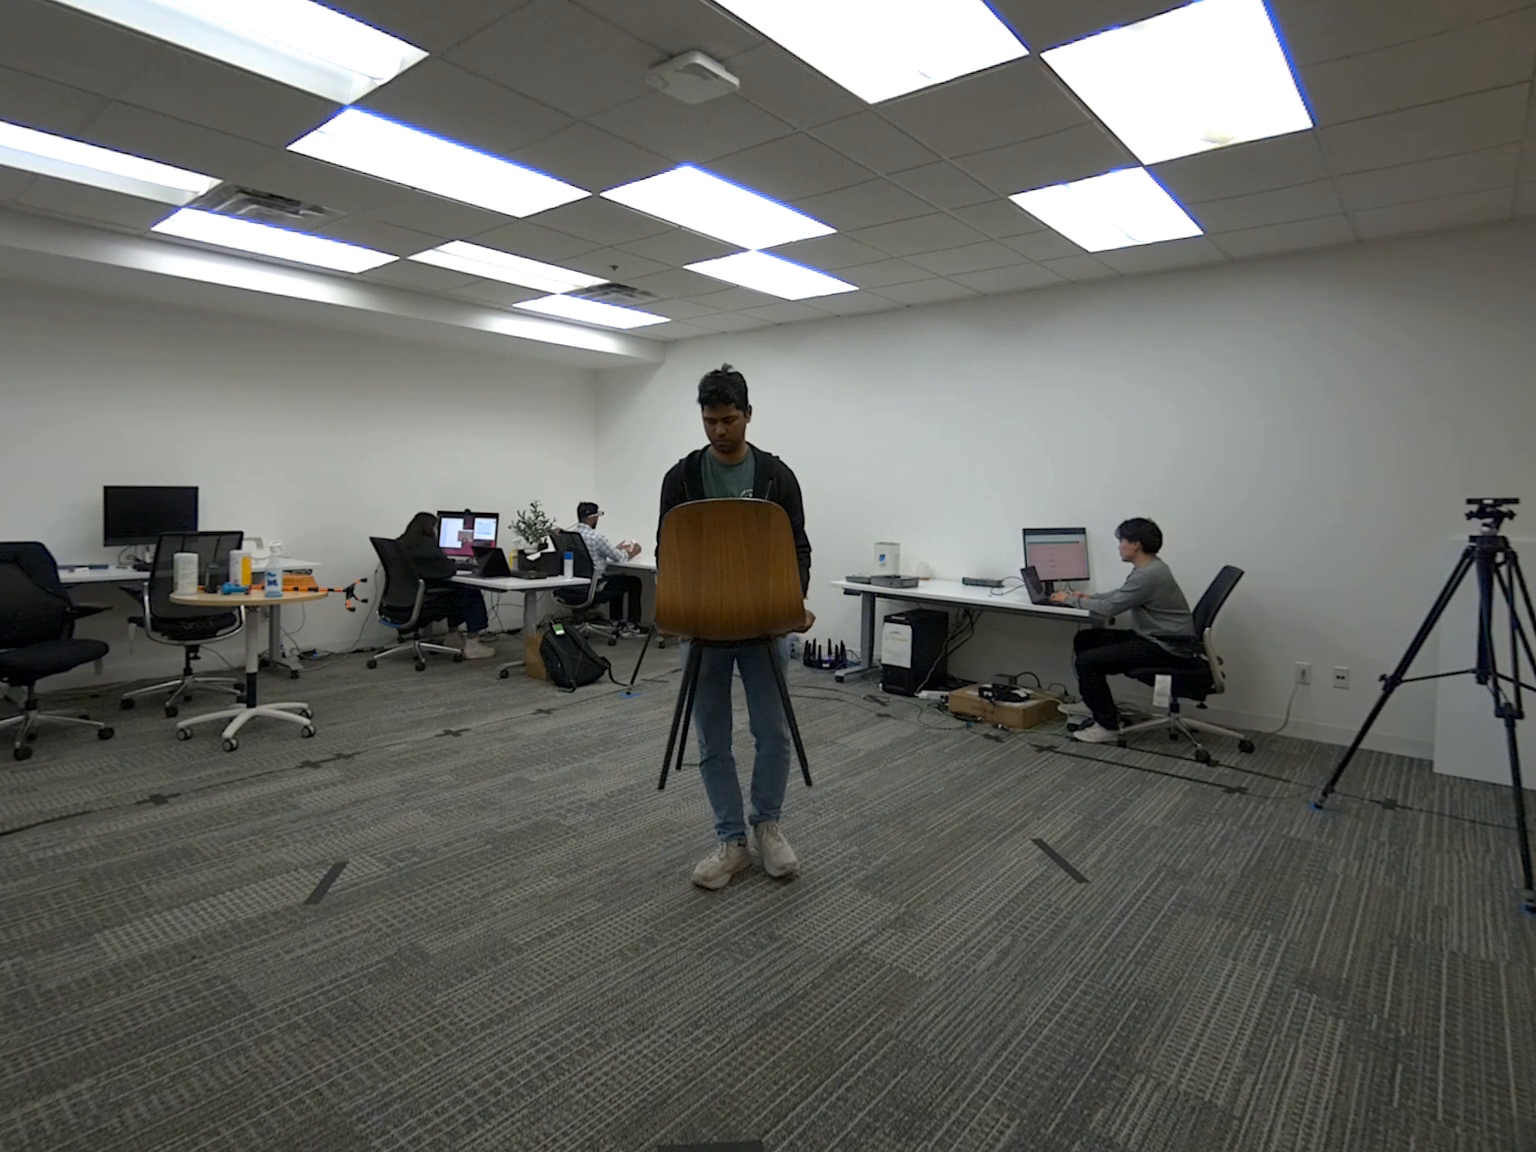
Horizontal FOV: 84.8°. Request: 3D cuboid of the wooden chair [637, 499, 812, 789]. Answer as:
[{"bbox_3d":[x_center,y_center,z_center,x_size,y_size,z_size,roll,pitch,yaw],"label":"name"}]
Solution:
[{"bbox_3d":[-0.118,0.214,2.749,0.479,0.882,0.520,-3,-4,0],"label":"wooden chair"}]
